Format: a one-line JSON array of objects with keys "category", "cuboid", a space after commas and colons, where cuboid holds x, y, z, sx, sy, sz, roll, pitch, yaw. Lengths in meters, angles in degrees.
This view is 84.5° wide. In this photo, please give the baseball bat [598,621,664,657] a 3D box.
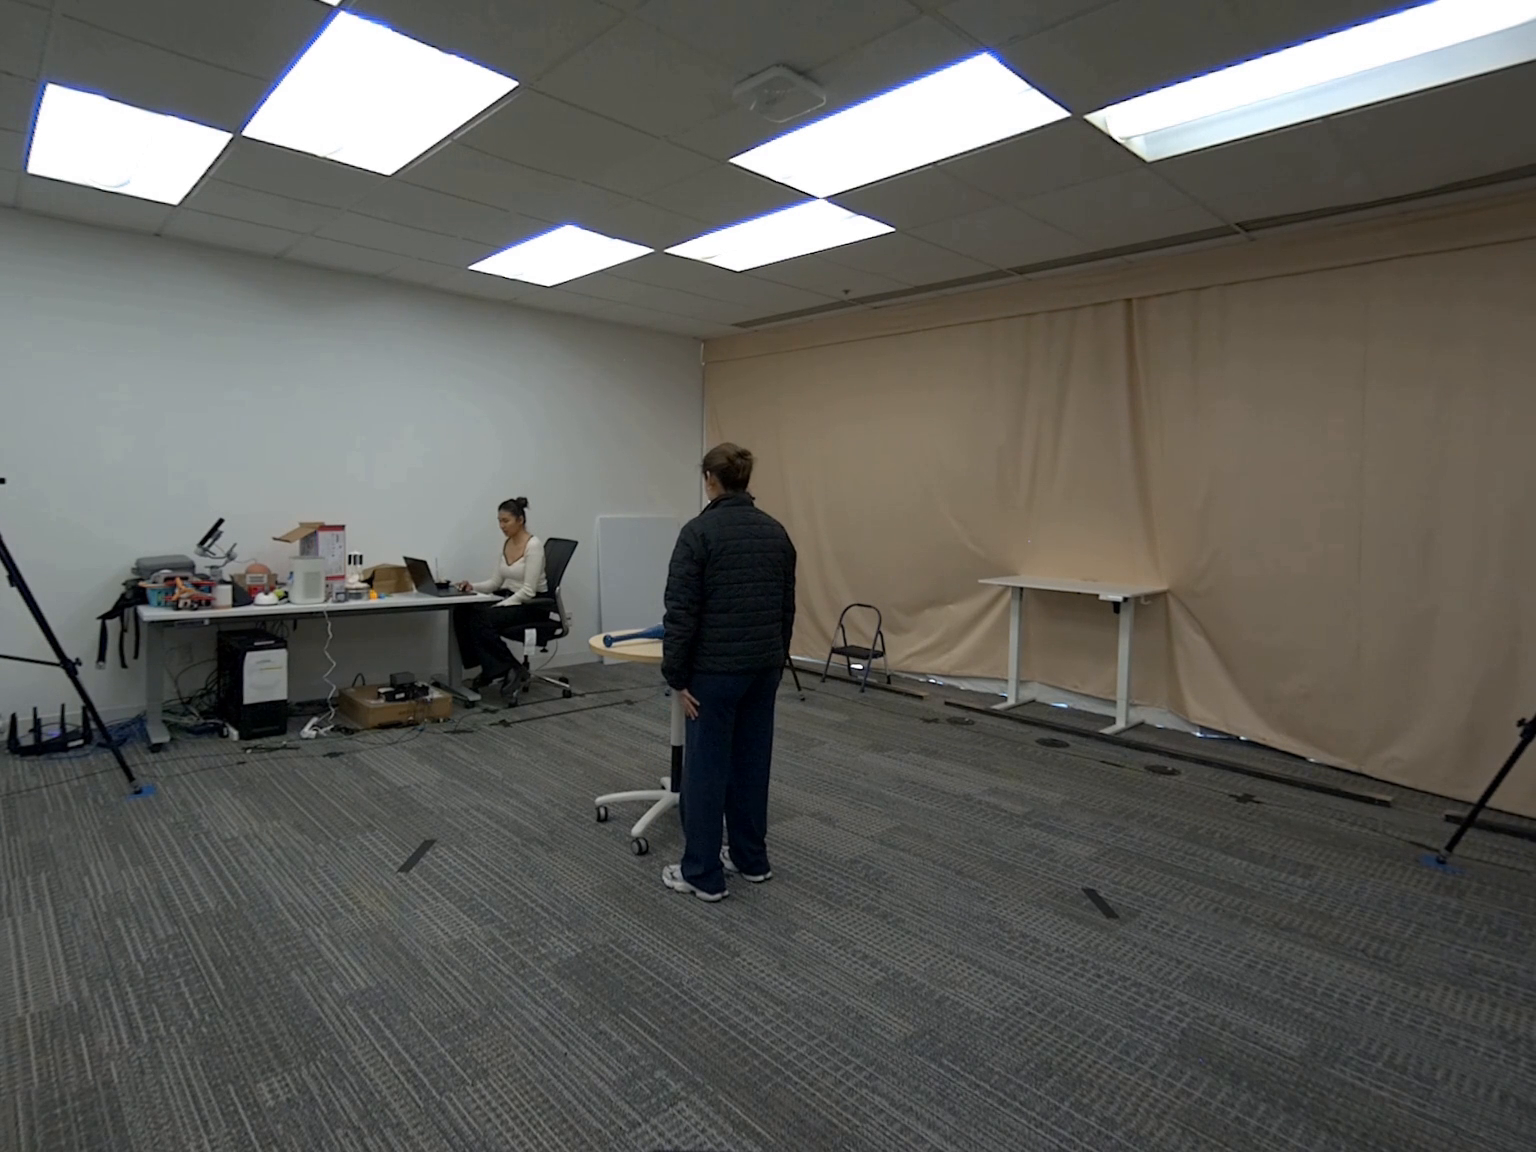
[{"category": "baseball bat", "cuboid": [-0.458, 0.244, 3.520, 0.091, 0.089, 0.531, 5, 8, 44]}]
